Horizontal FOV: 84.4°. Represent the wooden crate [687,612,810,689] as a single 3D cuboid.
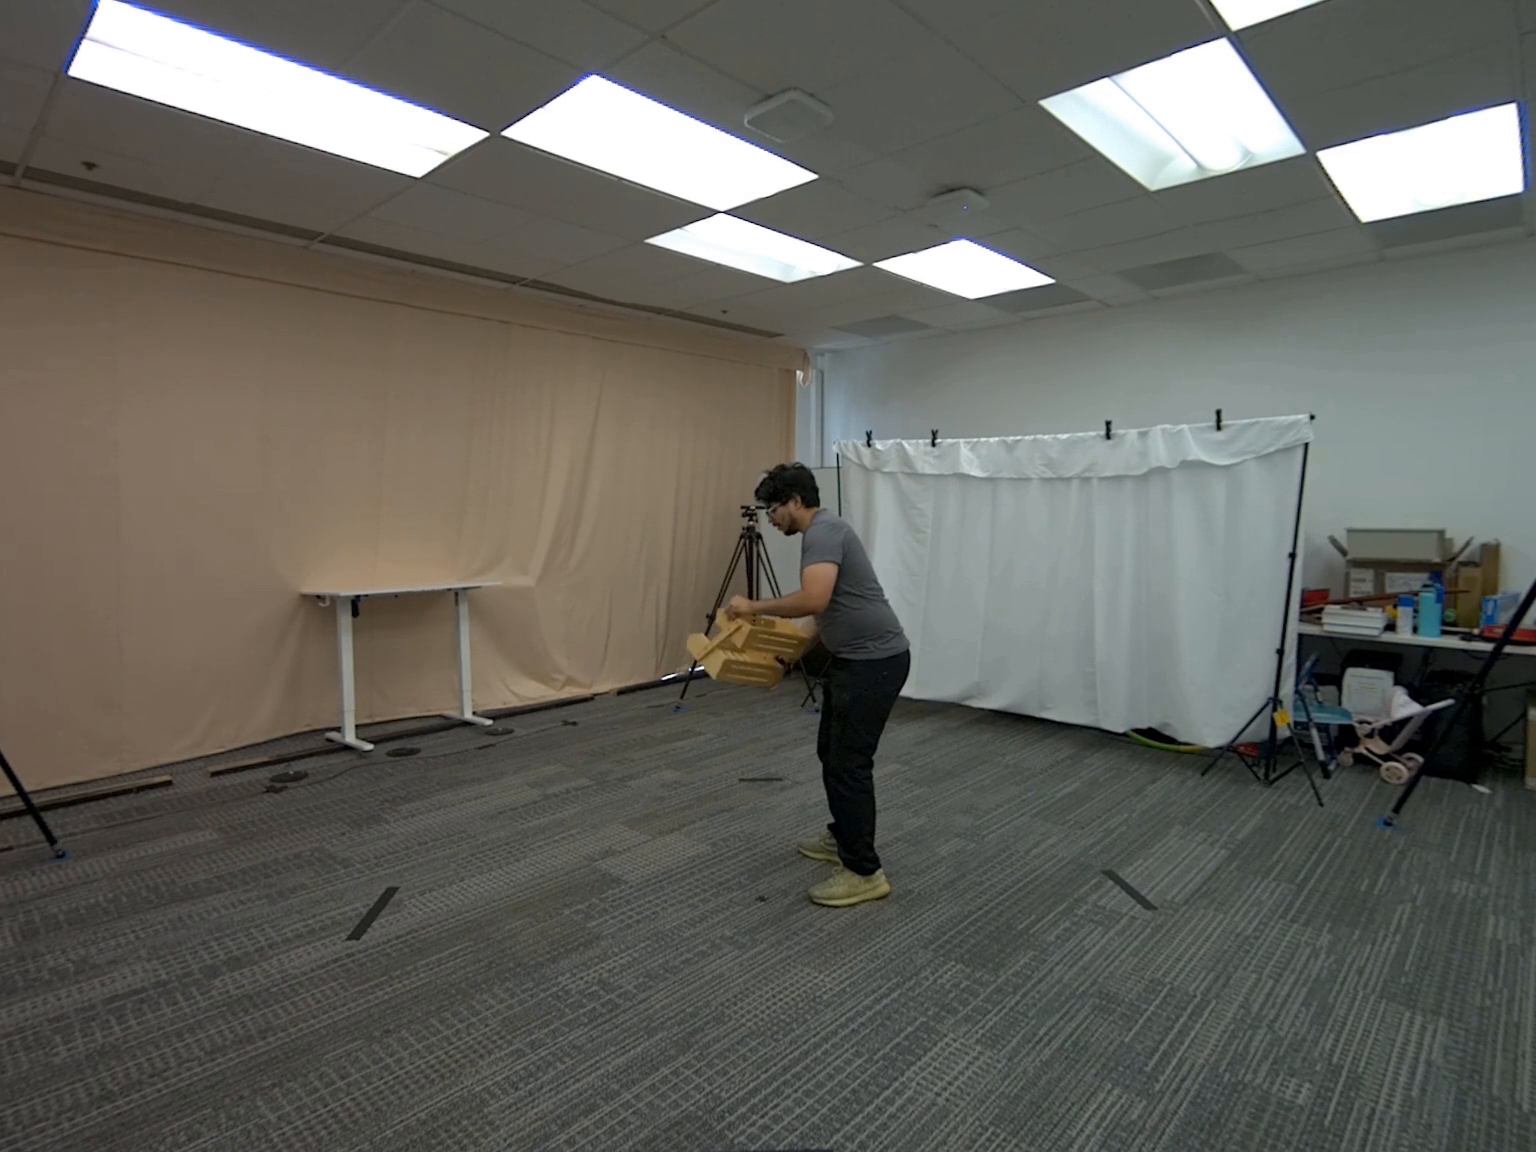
[{"bbox_3d":[-0.080,0.254,3.264,0.313,0.273,0.313,14,19,-39],"label":"wooden crate"}]
